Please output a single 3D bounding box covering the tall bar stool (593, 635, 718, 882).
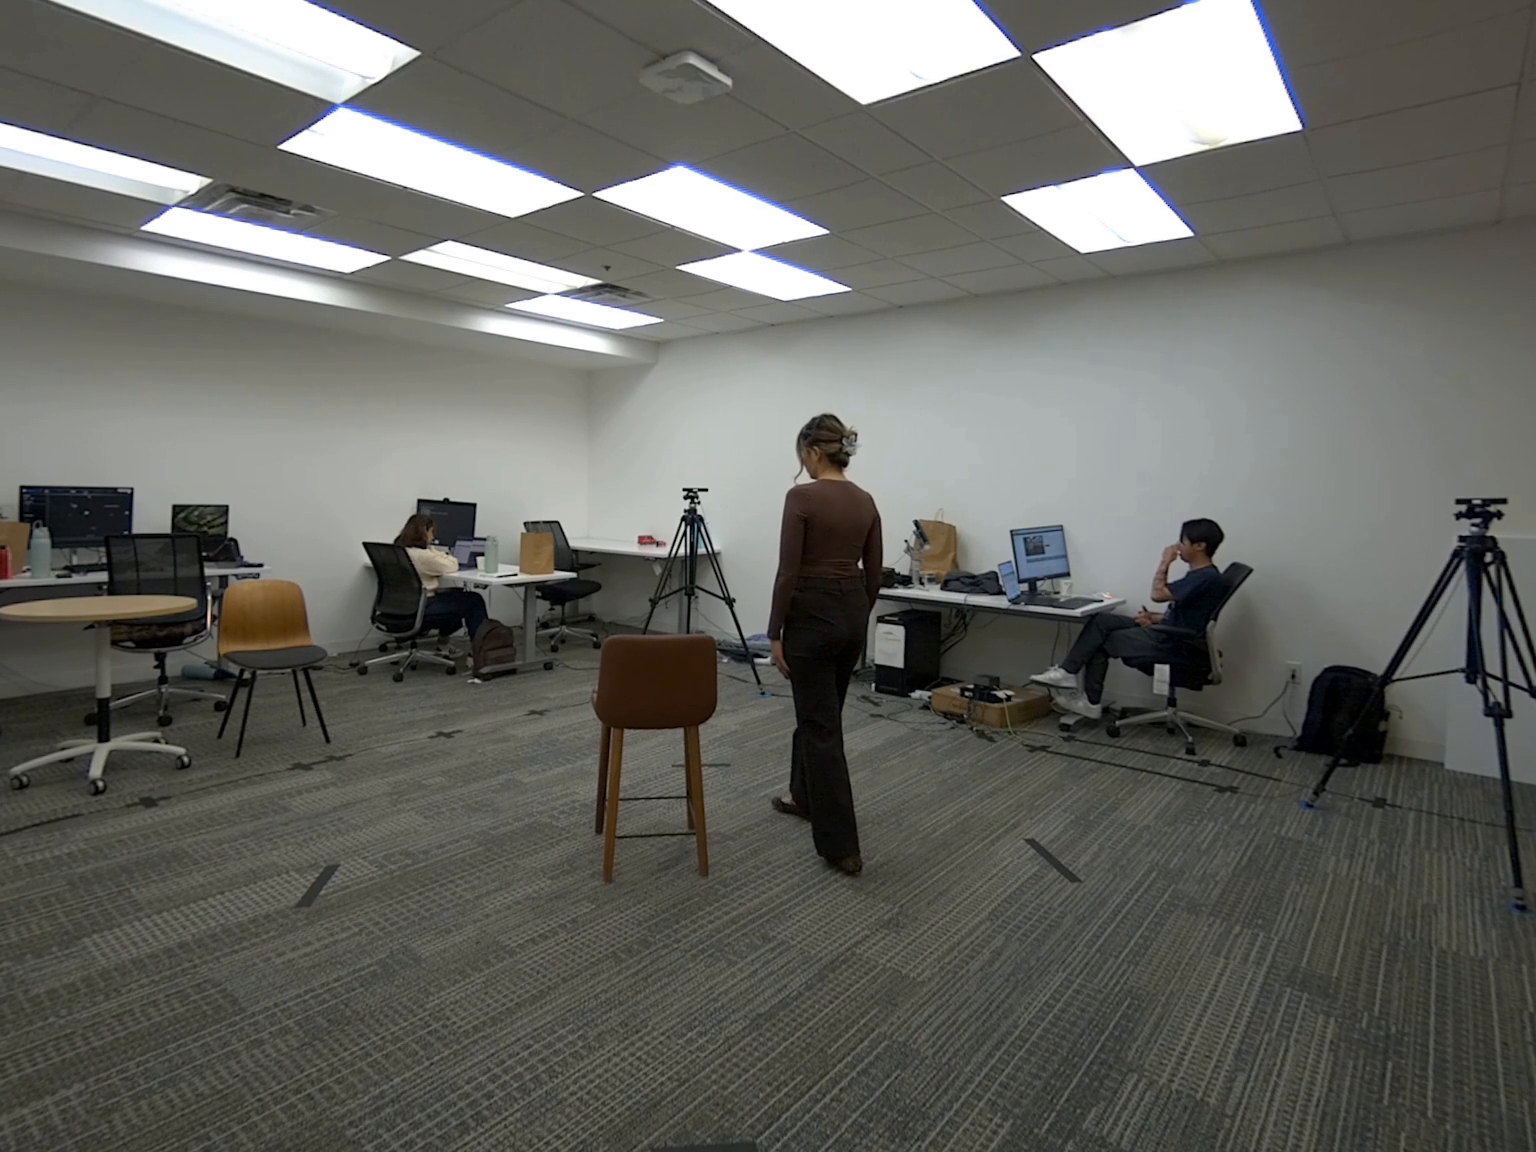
[{"bbox_3d":[-0.446,0.620,3.219,0.451,0.886,0.476,0,5,-13],"label":"tall bar stool"}]
